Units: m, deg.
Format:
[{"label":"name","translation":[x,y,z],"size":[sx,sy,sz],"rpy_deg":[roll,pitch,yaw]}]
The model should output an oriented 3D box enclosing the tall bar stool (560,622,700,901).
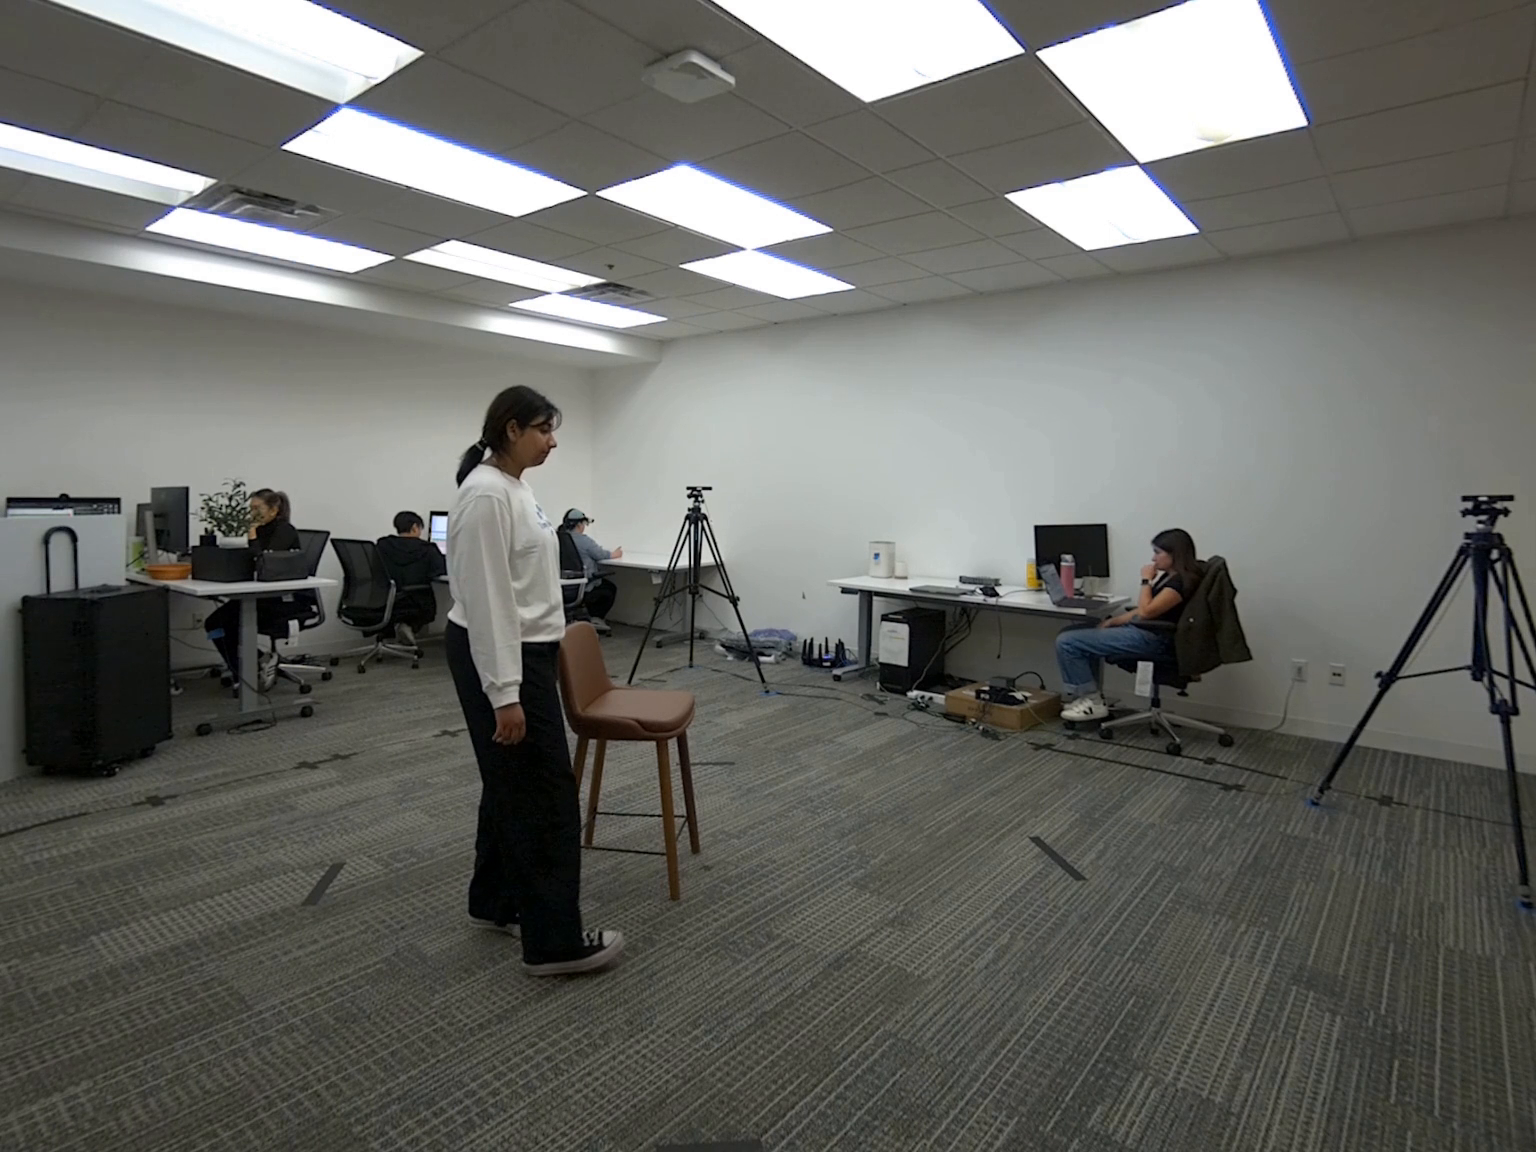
[{"label":"tall bar stool","translation":[-0.506,0.630,3.066],"size":[0.472,0.887,0.453],"rpy_deg":[0,3,8]}]
